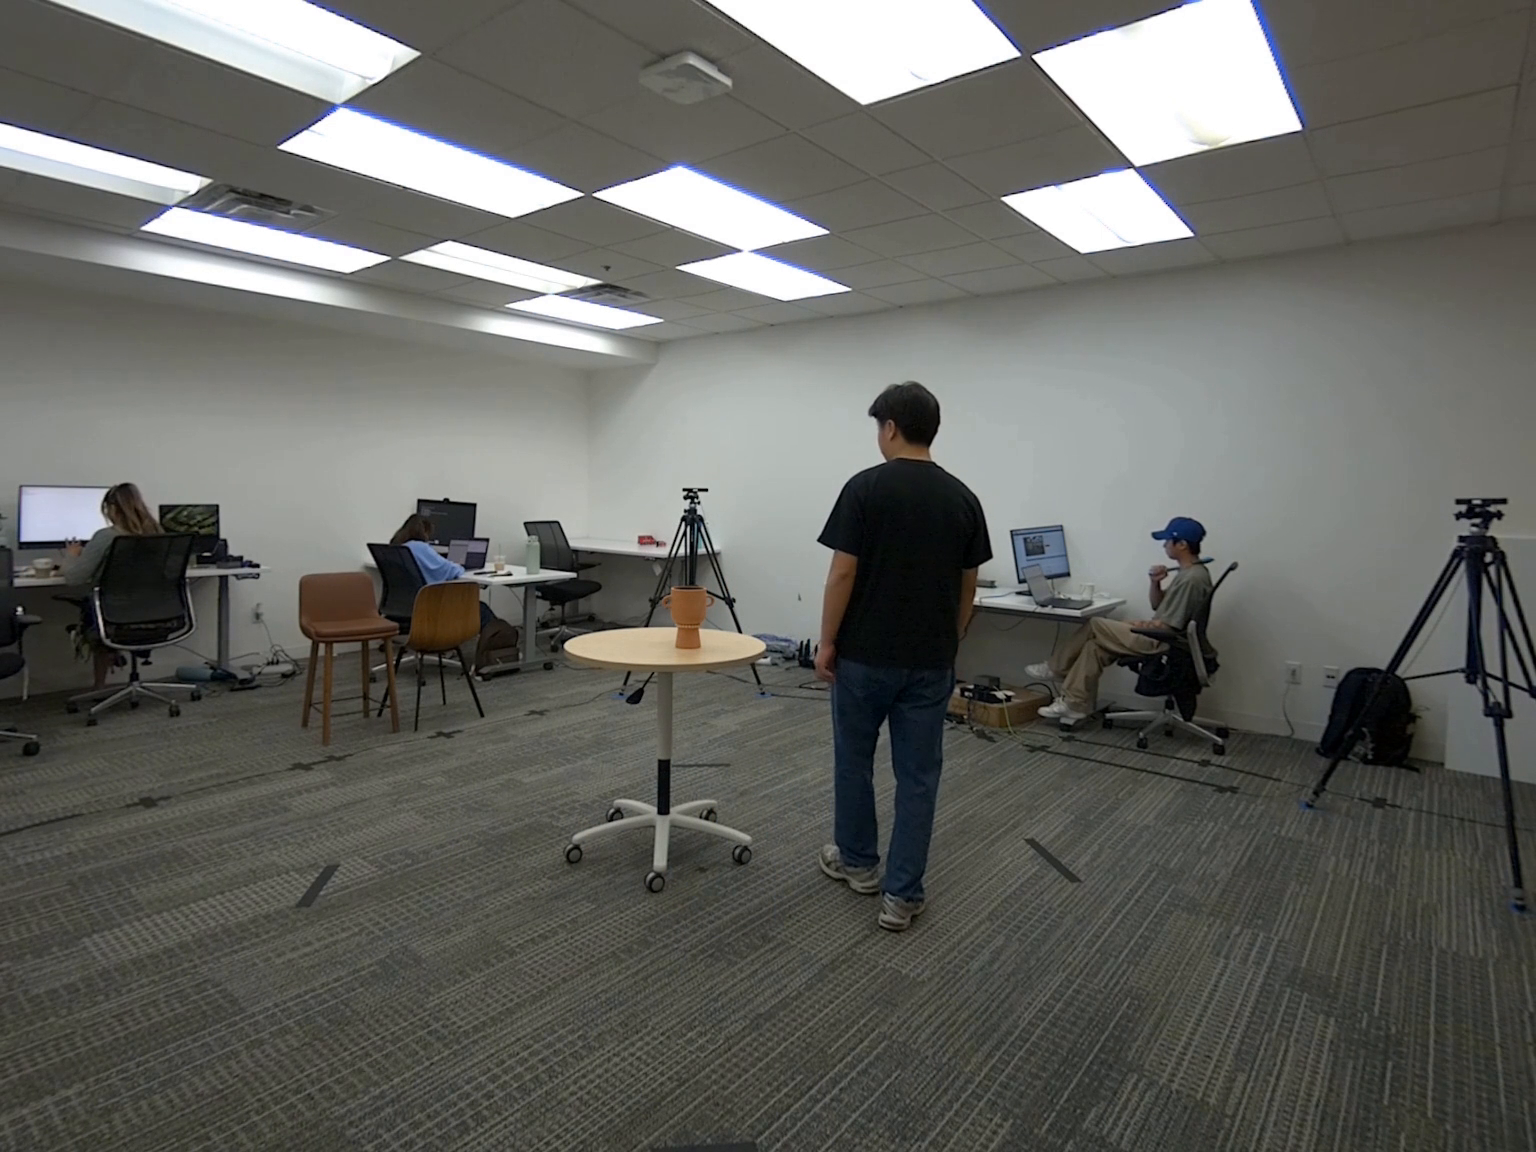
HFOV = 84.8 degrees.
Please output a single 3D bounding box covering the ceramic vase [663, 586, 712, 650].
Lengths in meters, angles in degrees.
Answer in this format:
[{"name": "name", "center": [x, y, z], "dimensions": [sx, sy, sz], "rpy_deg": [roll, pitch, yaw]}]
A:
[{"name": "ceramic vase", "center": [-0.311, 0.153, 3.187], "dimensions": [0.163, 0.219, 0.132], "rpy_deg": [3, 5, 23]}]
